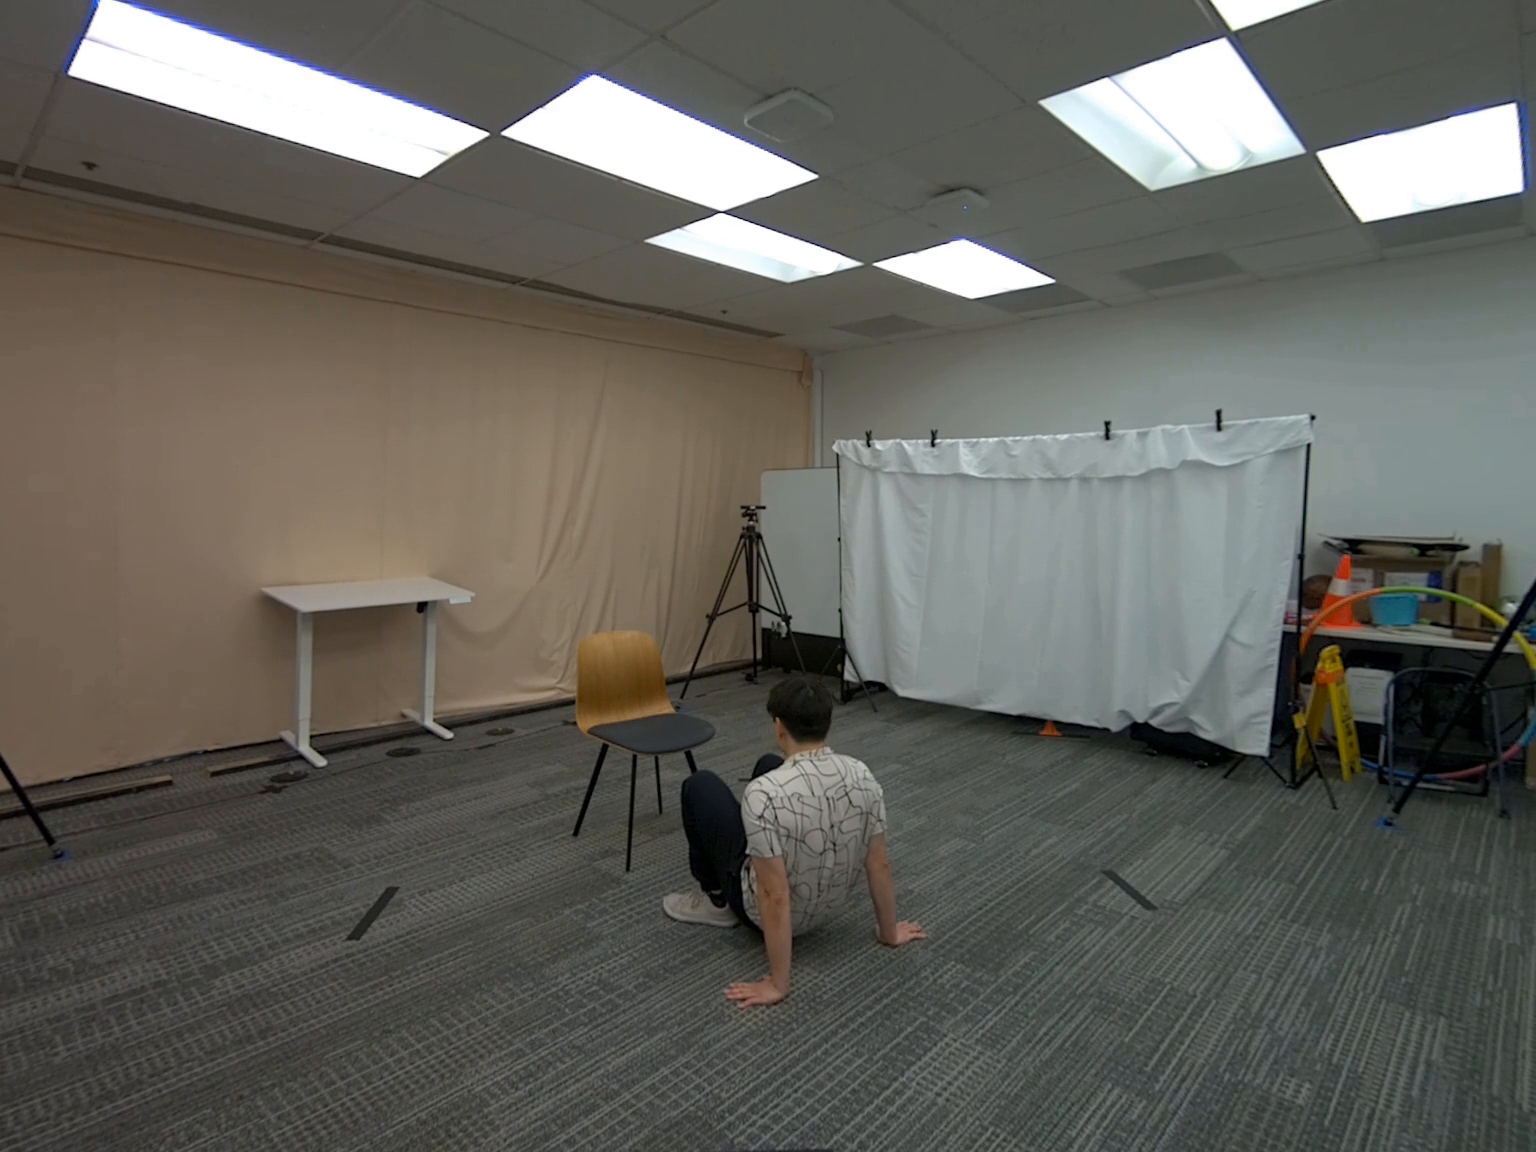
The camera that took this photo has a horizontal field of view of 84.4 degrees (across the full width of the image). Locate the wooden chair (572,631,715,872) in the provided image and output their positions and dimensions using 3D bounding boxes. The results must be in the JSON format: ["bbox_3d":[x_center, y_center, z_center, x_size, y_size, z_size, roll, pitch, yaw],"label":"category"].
[{"bbox_3d":[-0.509,0.678,3.491,0.464,0.878,0.539,-2,-1,-38],"label":"wooden chair"}]
